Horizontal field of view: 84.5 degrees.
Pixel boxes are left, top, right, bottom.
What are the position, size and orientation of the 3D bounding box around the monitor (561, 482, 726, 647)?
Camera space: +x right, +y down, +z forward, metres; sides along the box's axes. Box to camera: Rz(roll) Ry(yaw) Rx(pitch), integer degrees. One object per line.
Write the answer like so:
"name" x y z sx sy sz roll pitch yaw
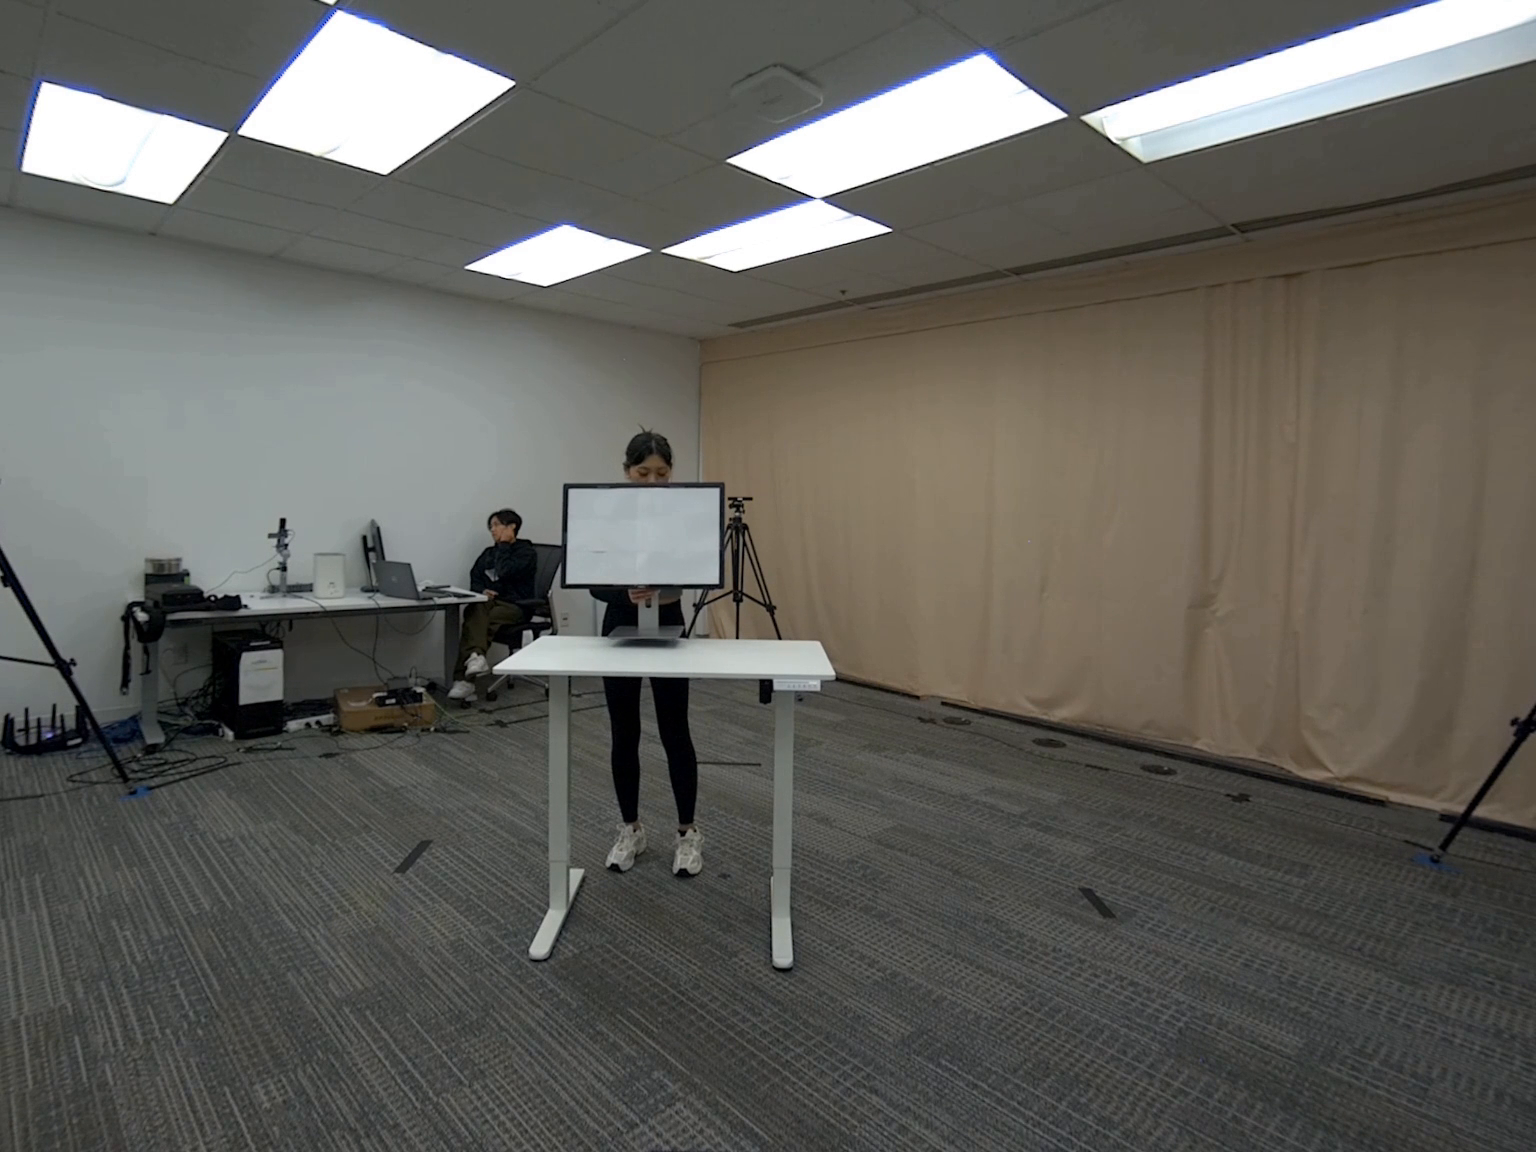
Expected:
"monitor" -0.428 -0.046 2.908 0.540 0.520 0.187 -1 6 2
